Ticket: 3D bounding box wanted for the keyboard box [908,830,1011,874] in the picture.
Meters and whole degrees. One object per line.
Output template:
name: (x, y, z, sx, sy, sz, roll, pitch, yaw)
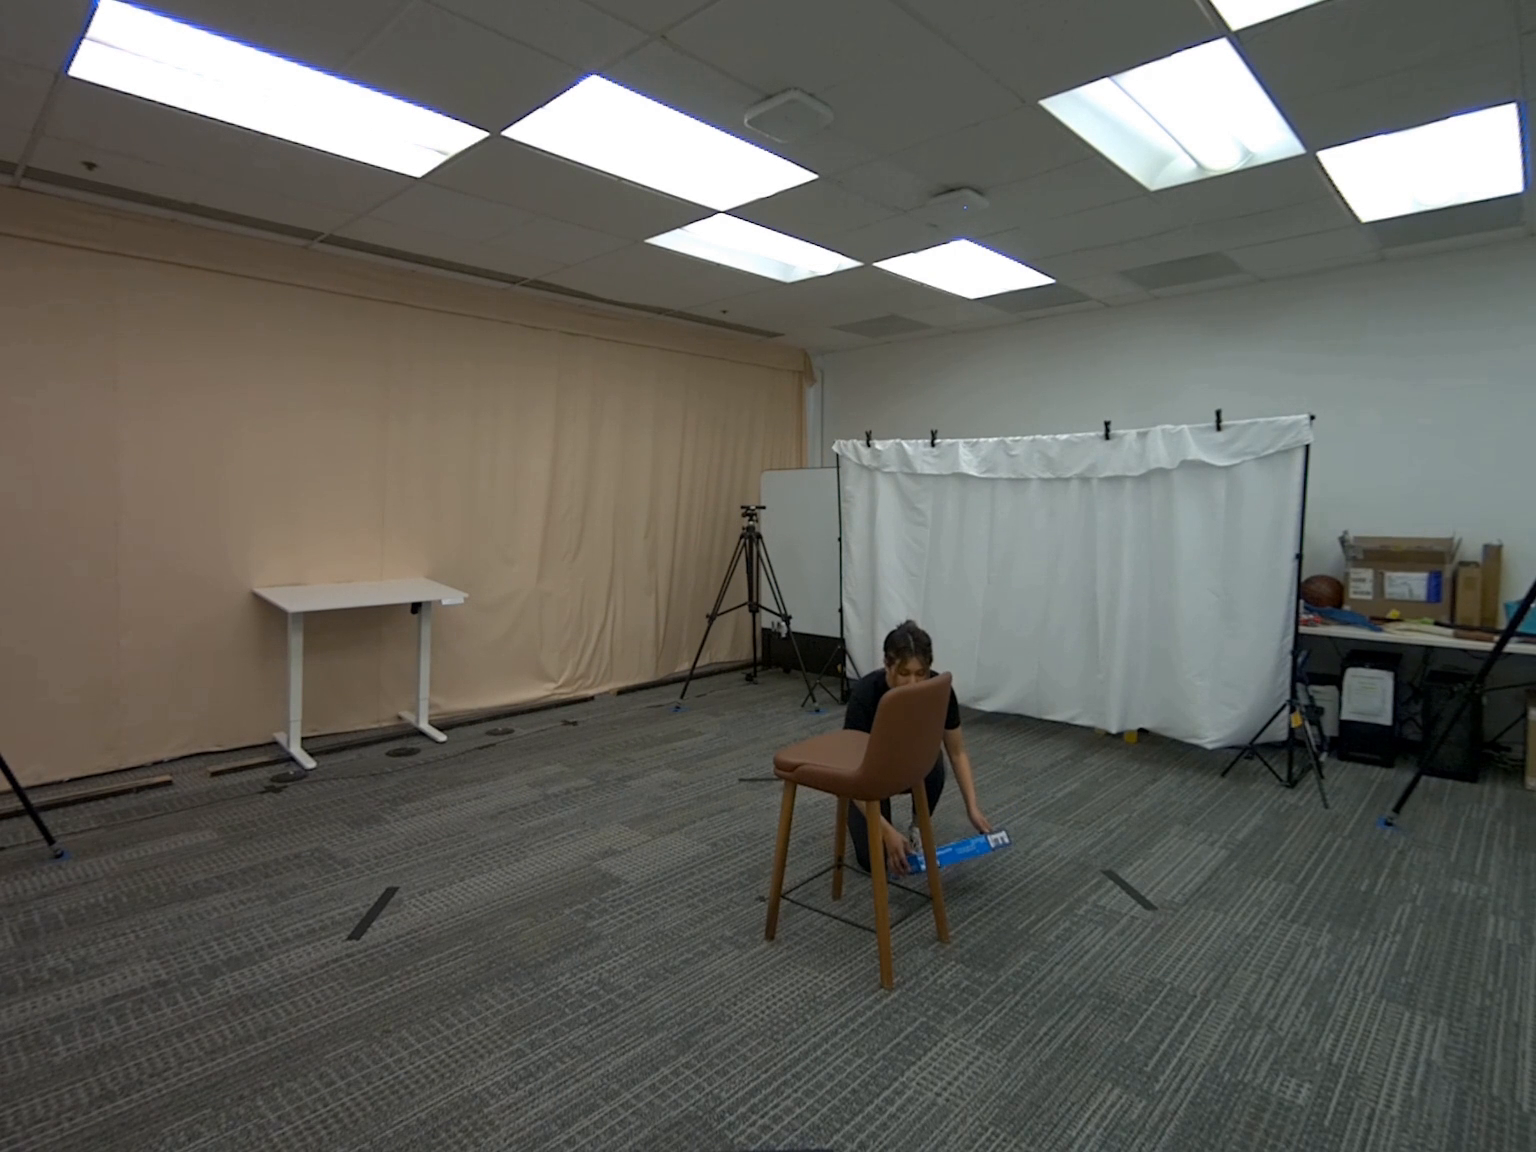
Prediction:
keyboard box: (0.653, 0.989, 2.999, 0.425, 0.060, 0.177, -4, -26, -31)
